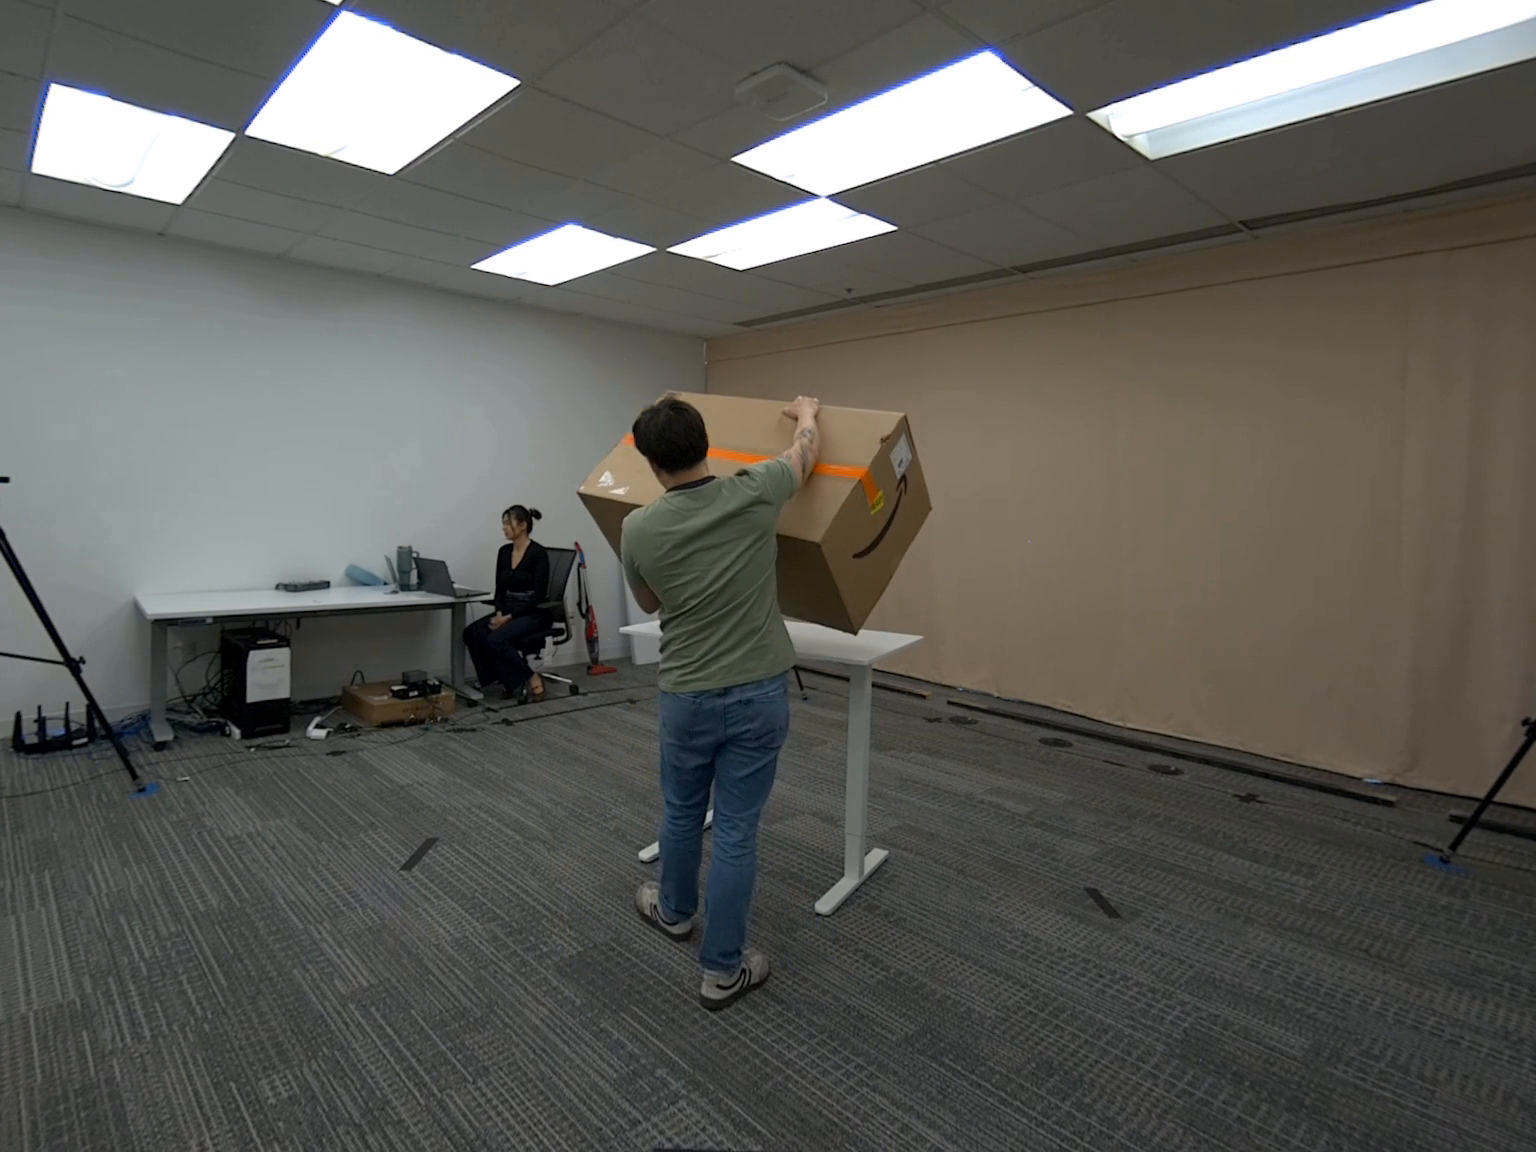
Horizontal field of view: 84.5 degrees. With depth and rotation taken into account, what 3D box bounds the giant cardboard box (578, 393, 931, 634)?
[{"bbox_3d":[-0.064,-0.265,2.909,1.054,0.579,0.413,14,-34,36],"label":"giant cardboard box"}]
